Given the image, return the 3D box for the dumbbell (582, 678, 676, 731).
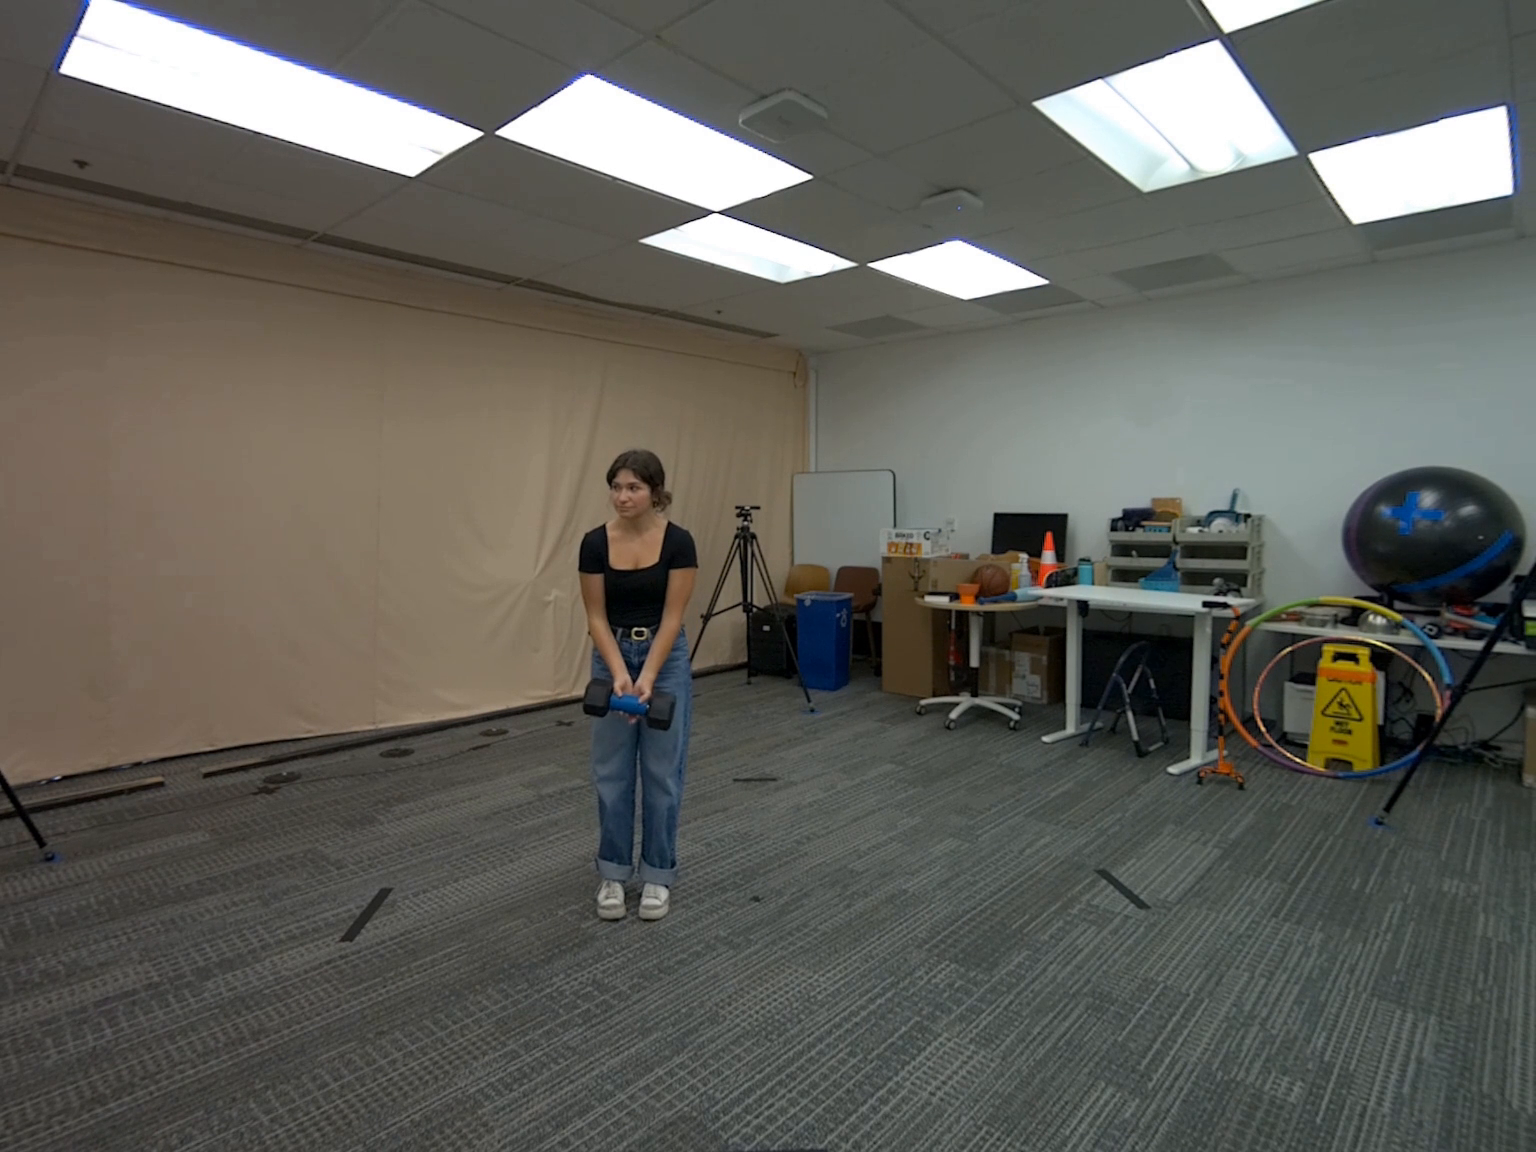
[{"bbox_3d":[-0.454,0.412,2.732,0.295,0.124,0.107,11,-16,3],"label":"dumbbell"}]
